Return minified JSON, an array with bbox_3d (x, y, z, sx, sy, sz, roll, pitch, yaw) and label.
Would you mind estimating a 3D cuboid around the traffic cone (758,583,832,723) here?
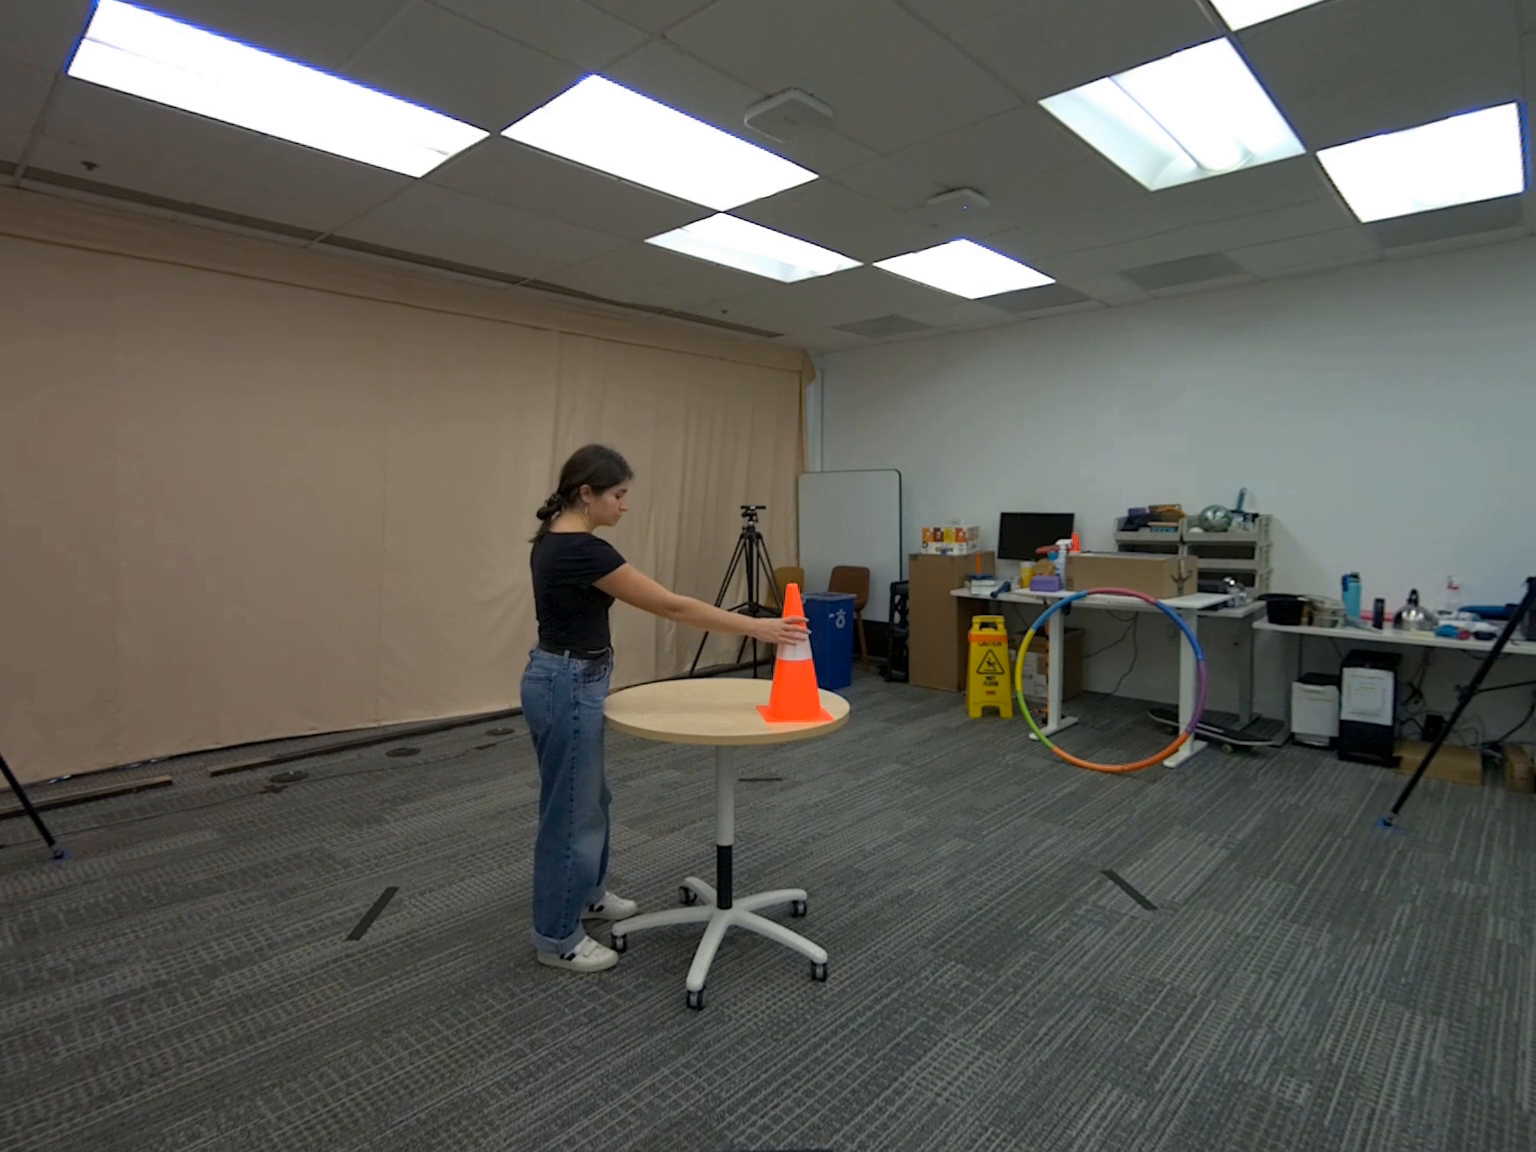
[{"bbox_3d":[0.077,0.223,2.438,0.202,0.382,0.206,-4,5,-13],"label":"traffic cone"}]
